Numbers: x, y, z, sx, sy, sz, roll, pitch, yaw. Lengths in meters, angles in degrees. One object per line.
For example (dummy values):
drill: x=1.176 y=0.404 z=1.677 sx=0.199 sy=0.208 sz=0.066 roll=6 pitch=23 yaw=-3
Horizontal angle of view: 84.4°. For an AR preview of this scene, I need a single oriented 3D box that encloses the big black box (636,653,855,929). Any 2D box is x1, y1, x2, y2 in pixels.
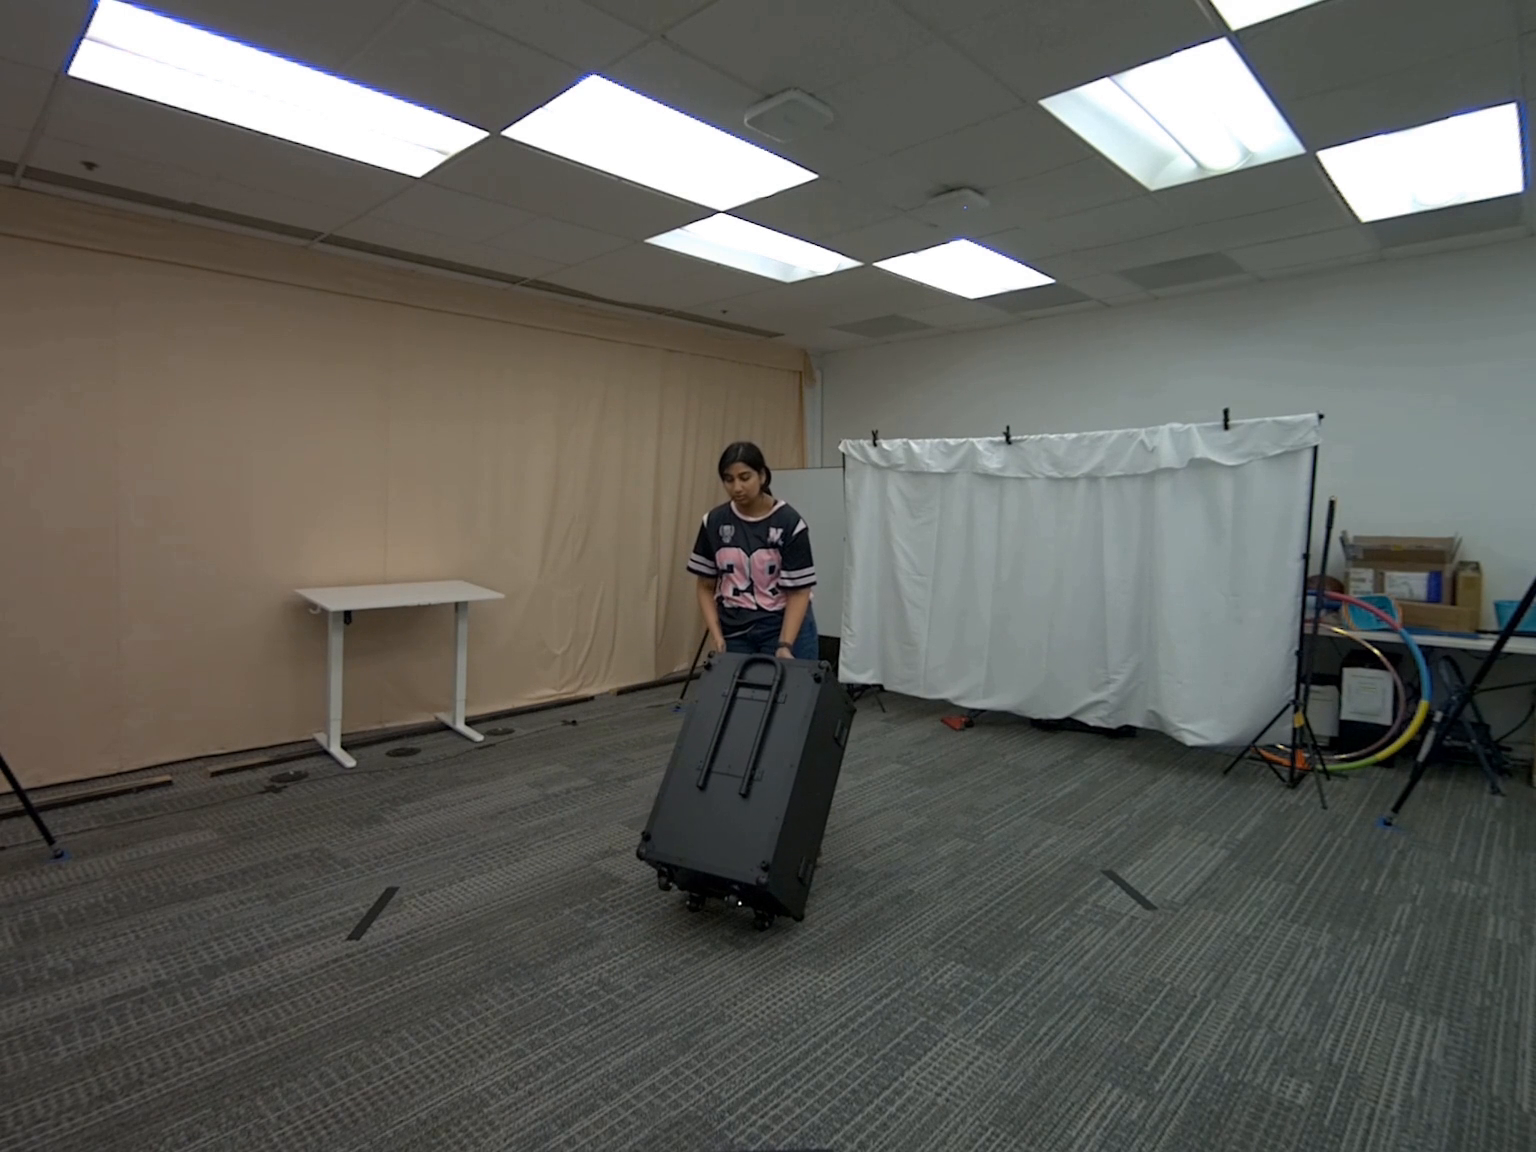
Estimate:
big black box: x=-0.055 y=0.736 z=2.944 sx=0.538 sy=0.873 sz=0.372 roll=2 pitch=-34 yaw=28
